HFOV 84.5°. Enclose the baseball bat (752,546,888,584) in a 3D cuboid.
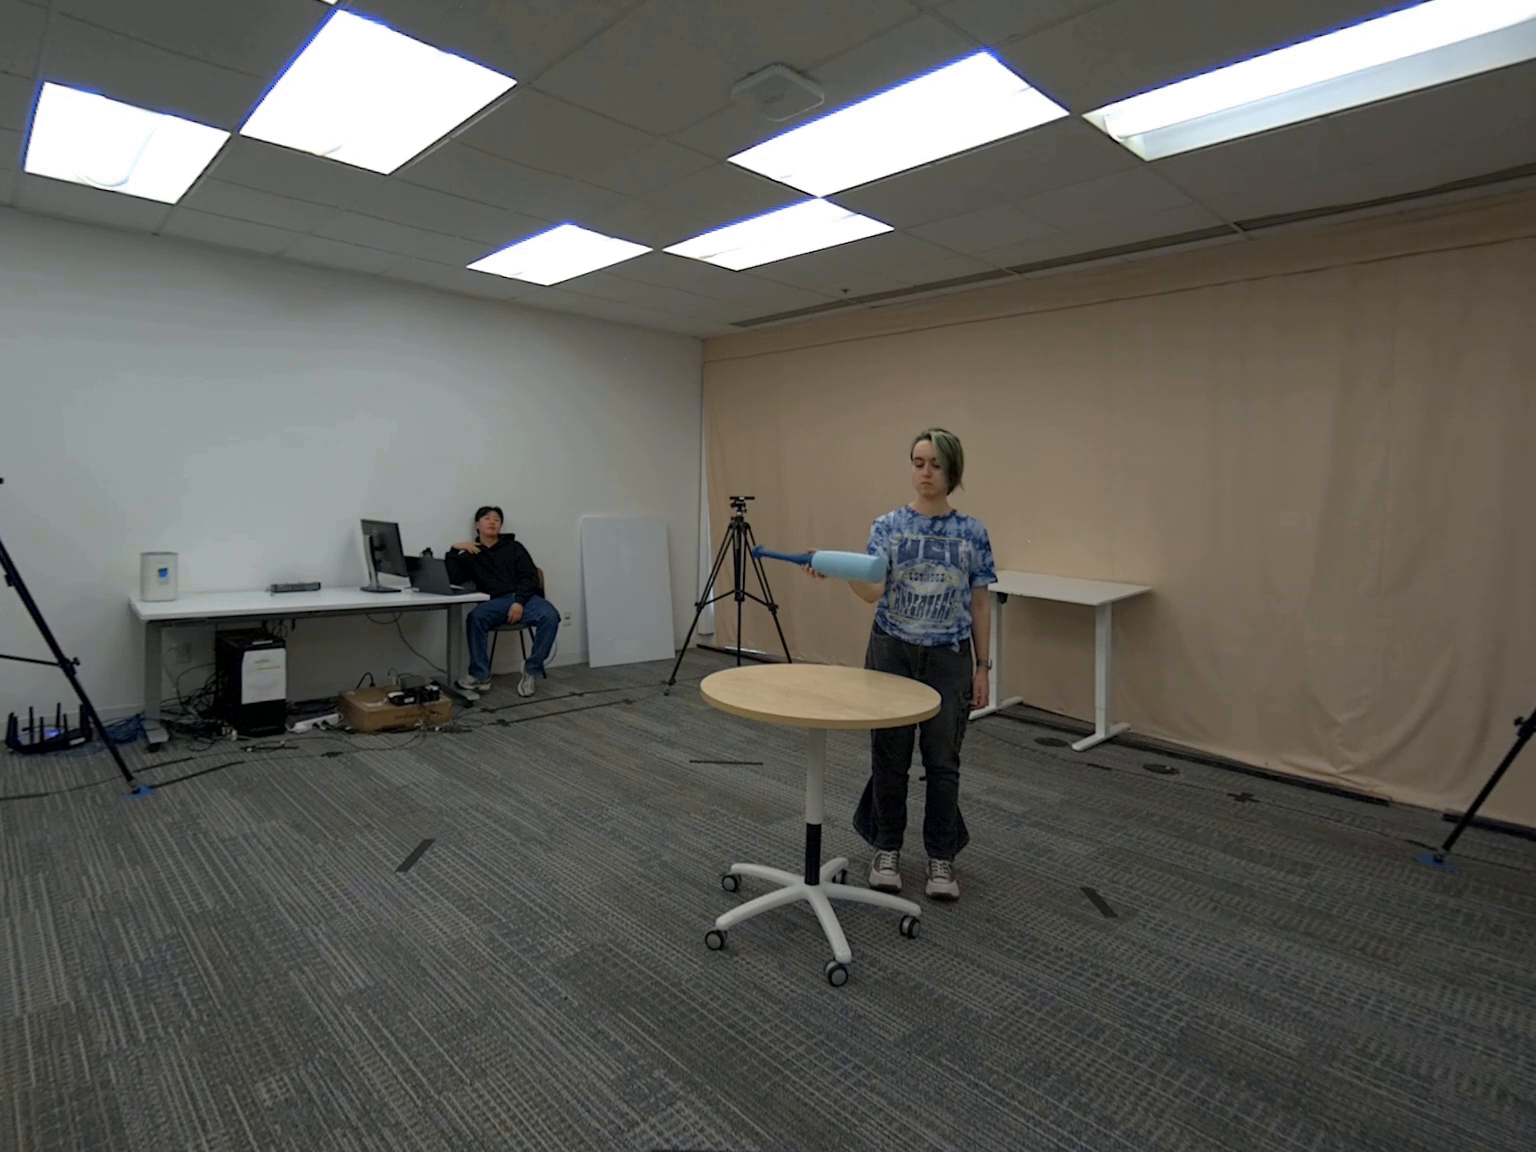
[{"bbox_3d":[0.148,-0.044,2.750,0.087,0.089,0.558,-3,9,-44],"label":"baseball bat"}]
